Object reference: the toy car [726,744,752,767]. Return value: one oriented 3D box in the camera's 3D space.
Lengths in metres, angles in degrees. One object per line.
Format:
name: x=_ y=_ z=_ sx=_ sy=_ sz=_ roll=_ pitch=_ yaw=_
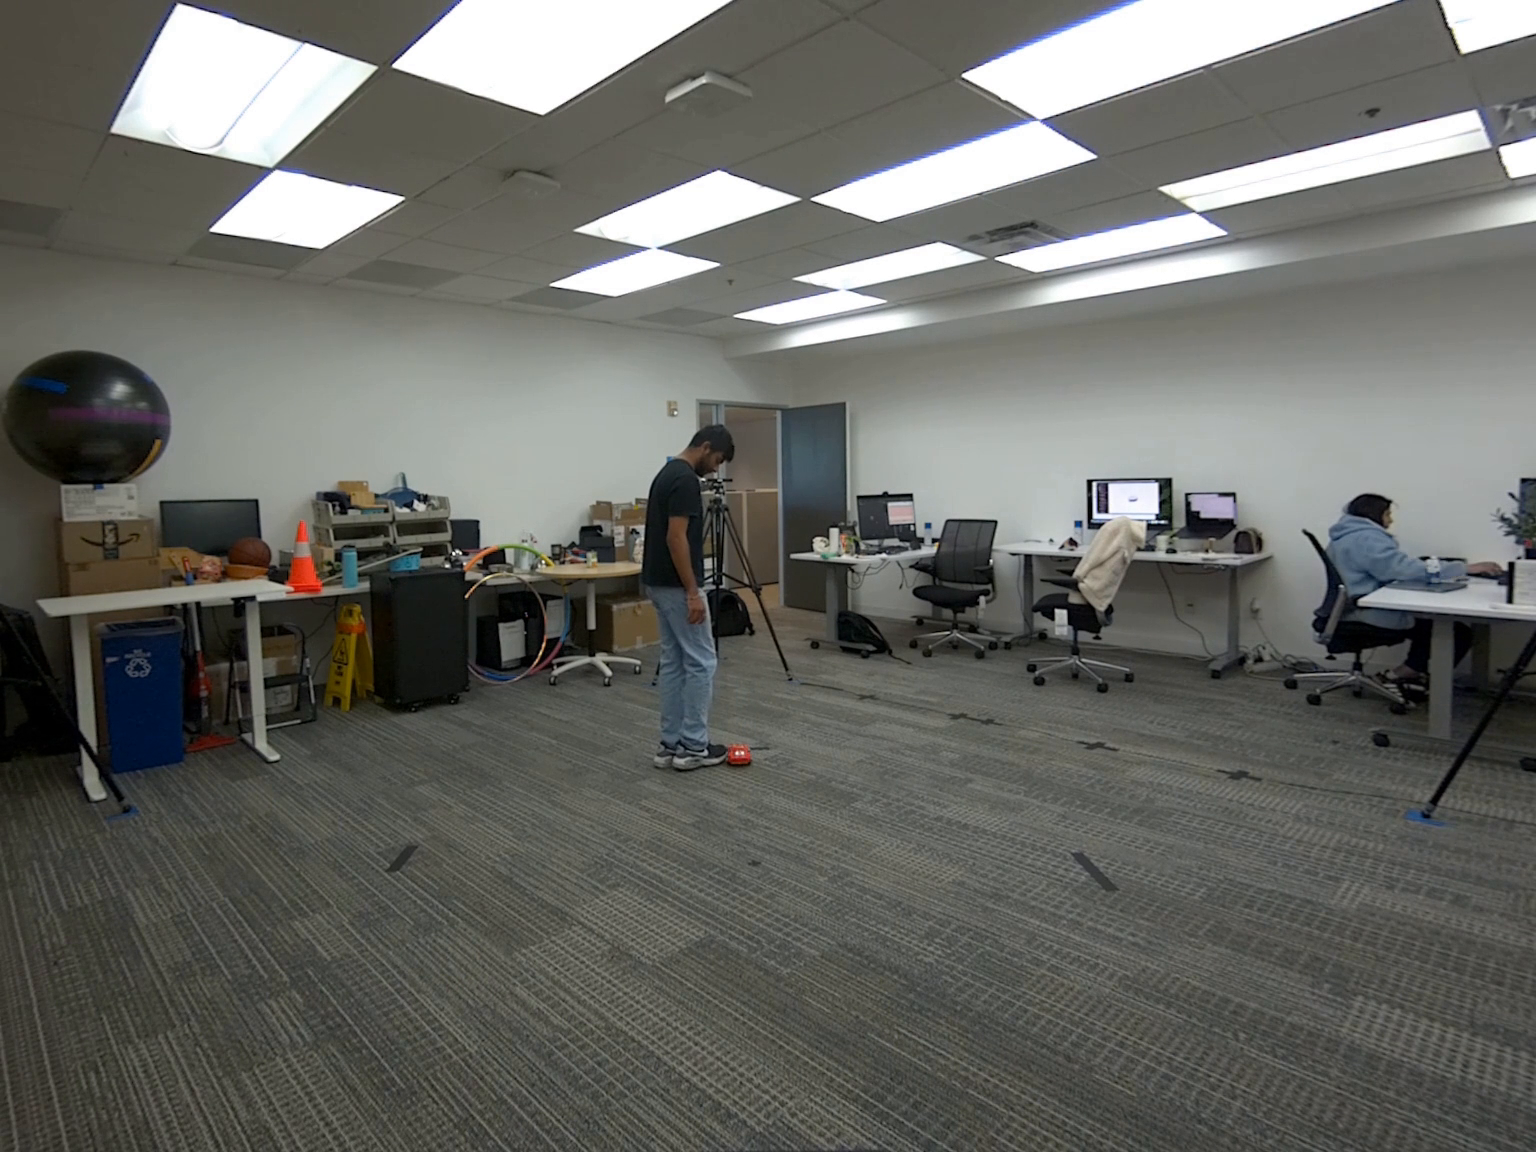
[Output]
toy car: x=-0.148 y=0.885 z=4.246 sx=0.130 sy=0.083 sz=0.254 roll=1 pitch=-4 yaw=-3
